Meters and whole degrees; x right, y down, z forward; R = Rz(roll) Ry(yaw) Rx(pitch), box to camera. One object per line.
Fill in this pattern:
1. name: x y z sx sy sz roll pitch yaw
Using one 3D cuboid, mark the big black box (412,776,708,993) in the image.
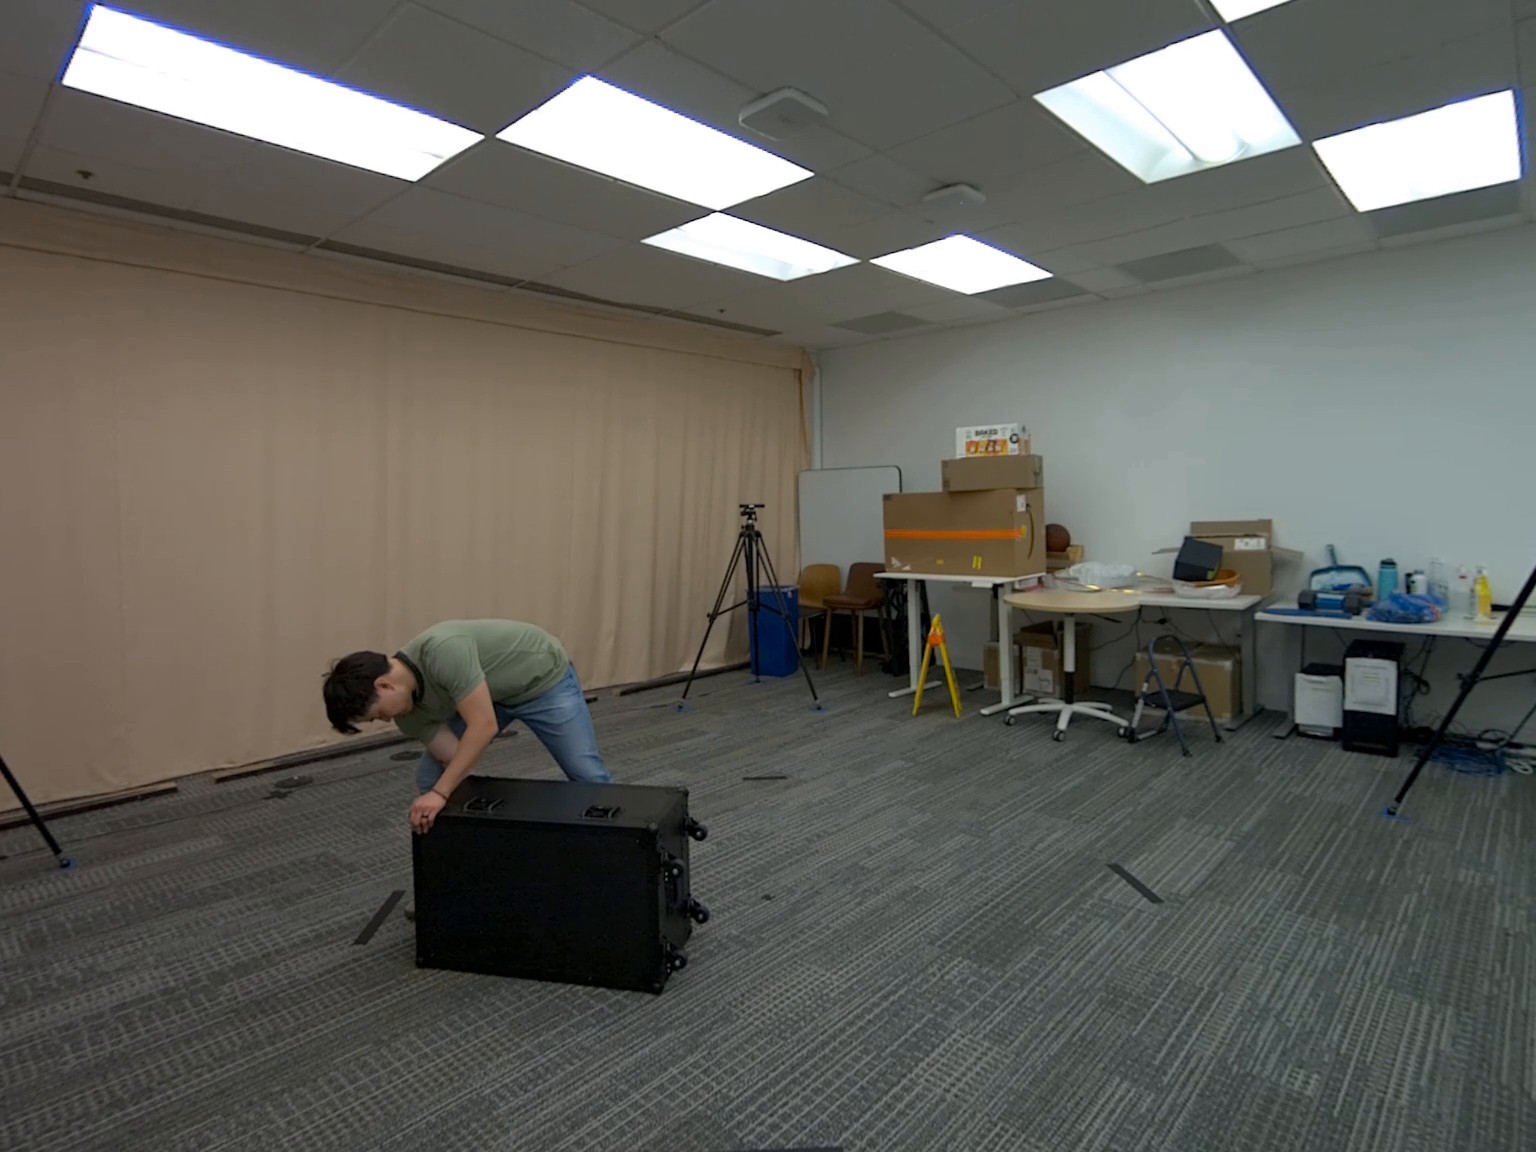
1. big black box: -0.688 0.929 2.658 0.873 0.520 0.392 0 4 12
